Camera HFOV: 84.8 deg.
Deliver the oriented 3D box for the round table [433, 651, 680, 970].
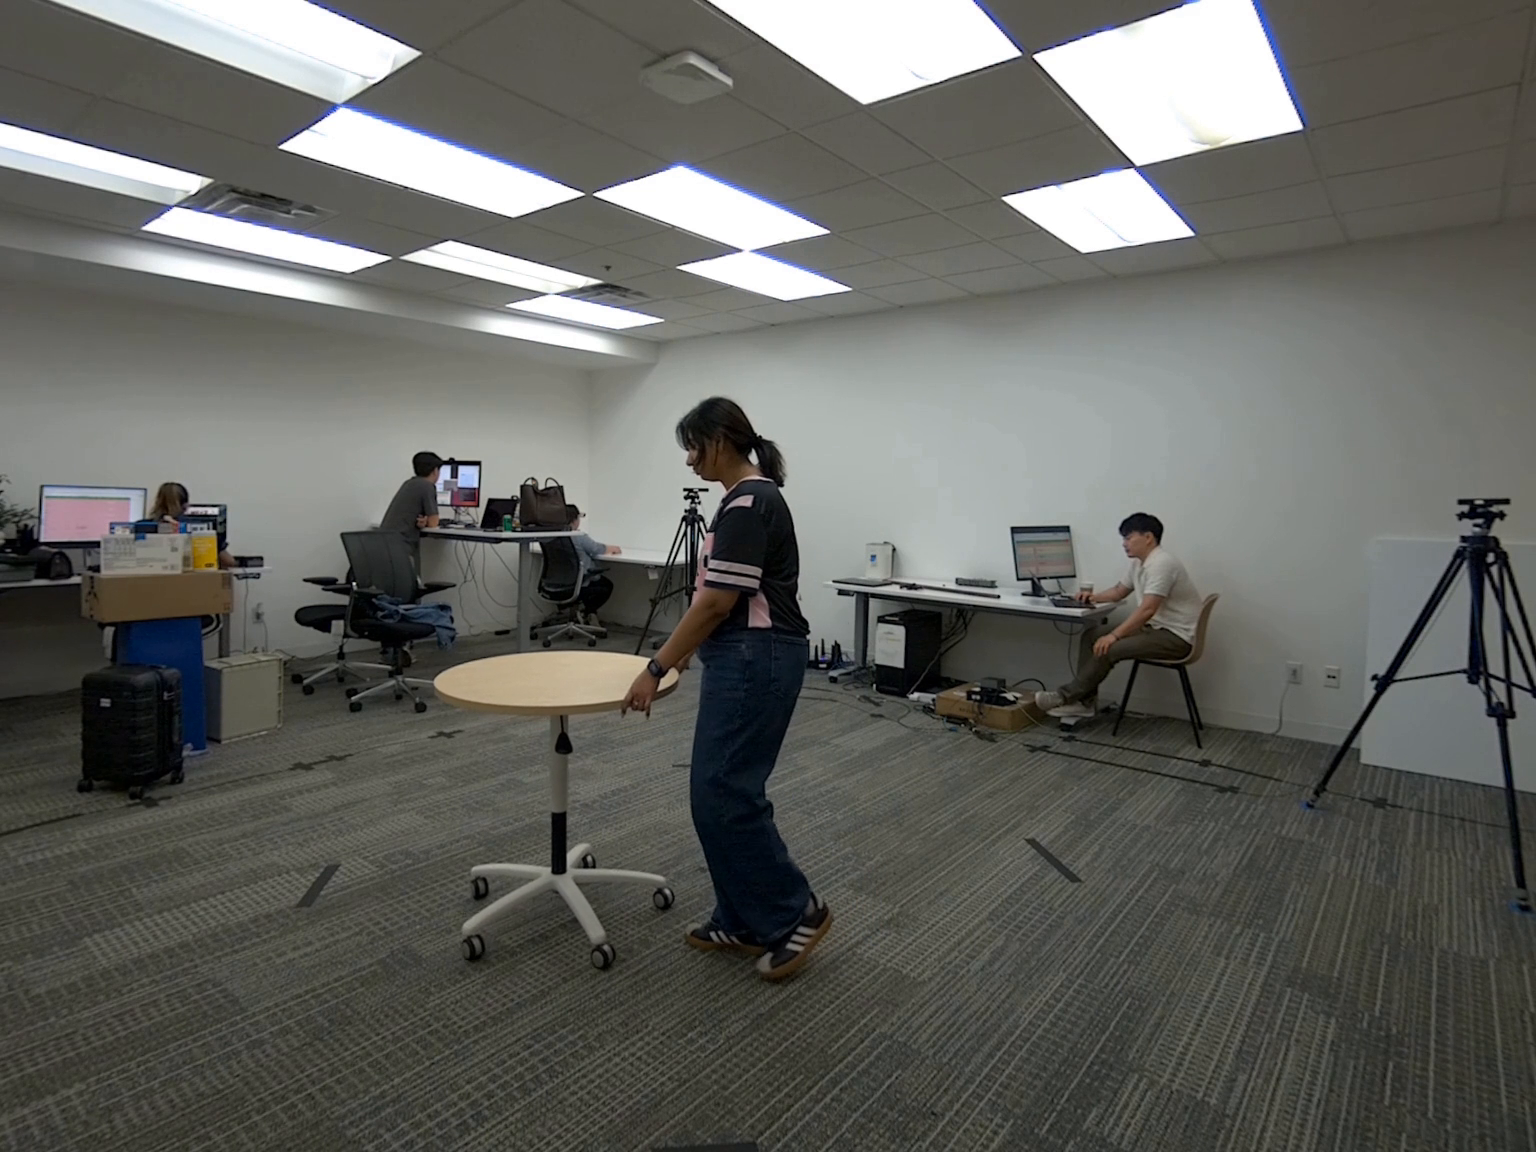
[{"bbox_3d":[-0.681,0.709,2.744,0.763,0.791,0.768,1,4,-2],"label":"round table"}]
